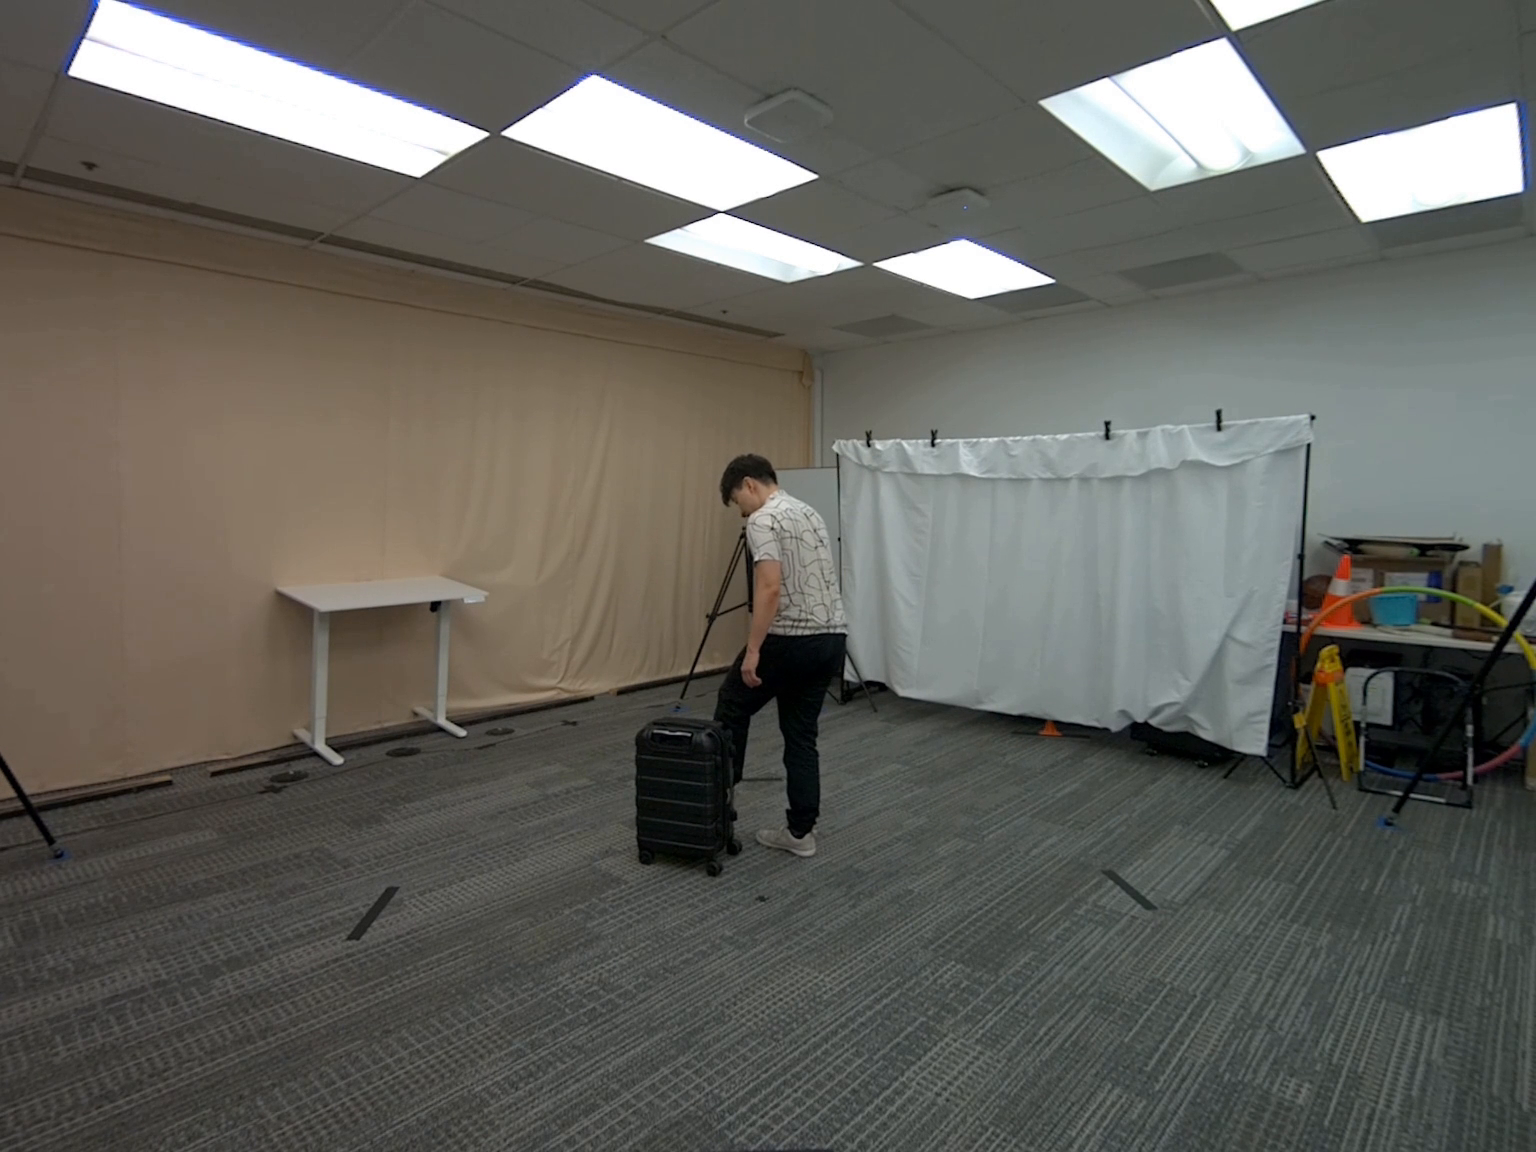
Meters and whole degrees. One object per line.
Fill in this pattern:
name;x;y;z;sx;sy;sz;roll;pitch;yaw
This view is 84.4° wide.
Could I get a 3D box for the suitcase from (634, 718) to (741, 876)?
suitcase;-0.329;0.841;3.323;0.383;0.548;0.243;-1;2;20
